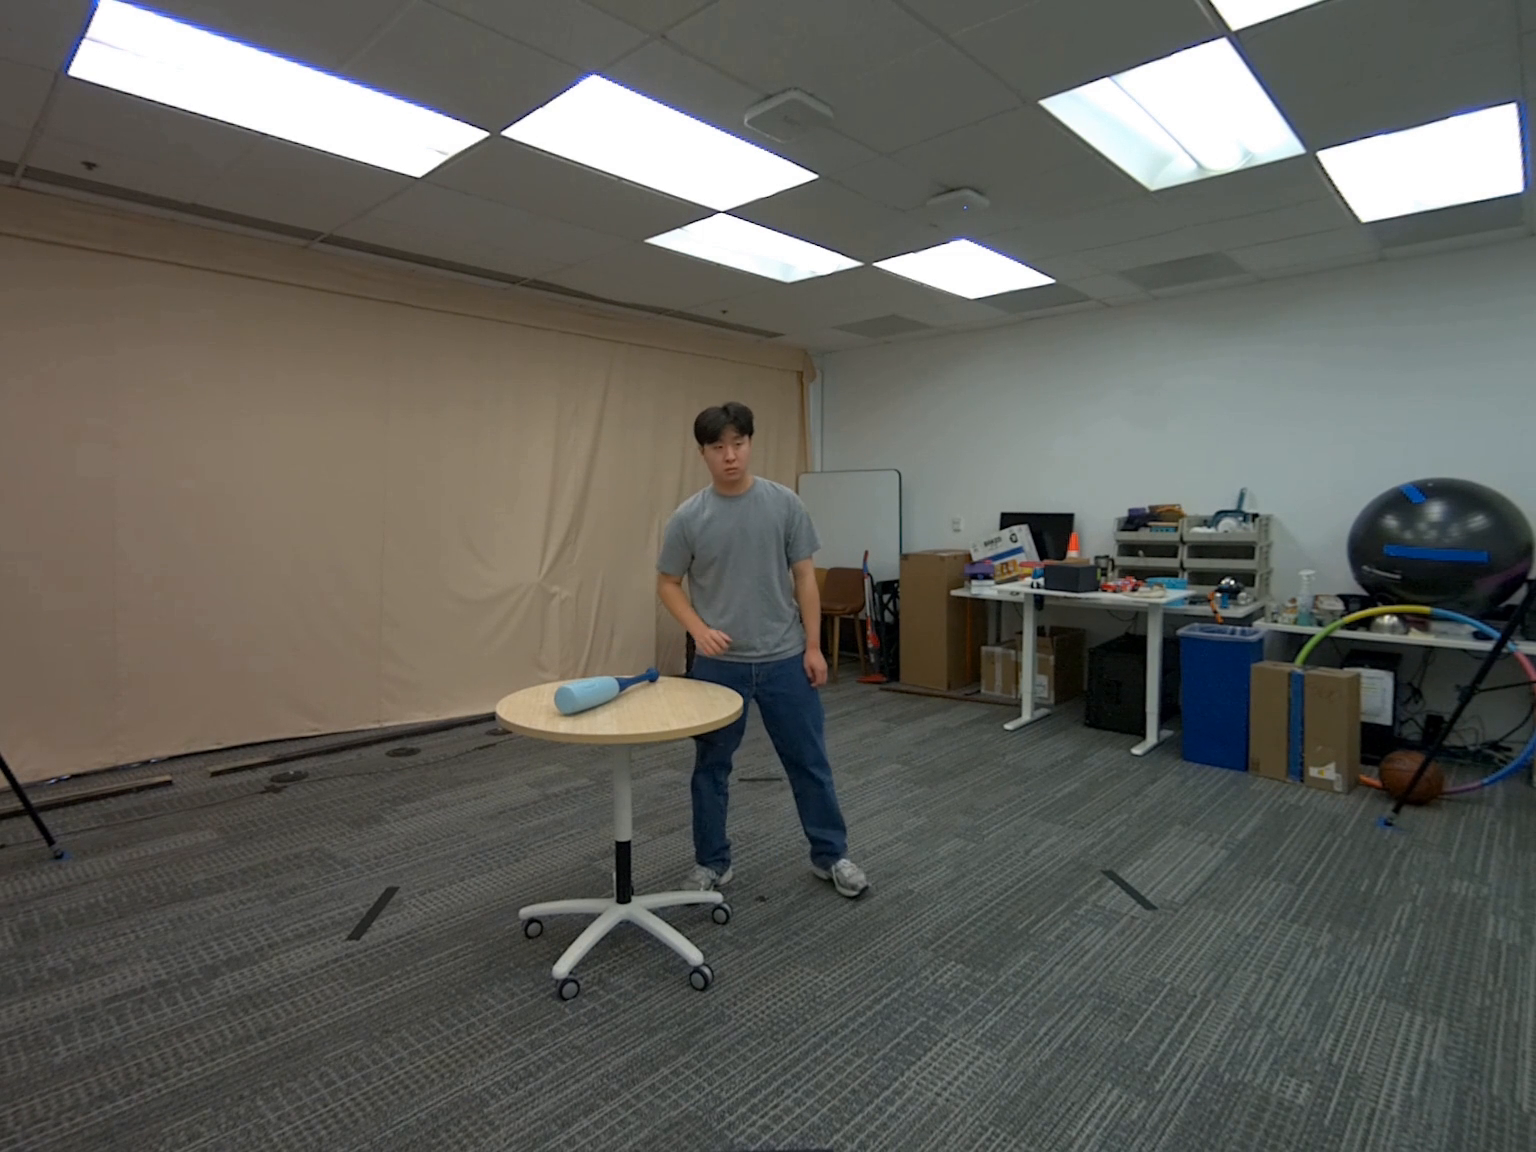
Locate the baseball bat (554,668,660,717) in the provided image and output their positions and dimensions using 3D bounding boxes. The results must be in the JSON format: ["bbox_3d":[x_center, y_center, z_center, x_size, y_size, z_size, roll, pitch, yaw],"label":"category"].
[{"bbox_3d":[-0.489,0.357,2.676,0.091,0.089,0.531,2,2,21],"label":"baseball bat"}]
